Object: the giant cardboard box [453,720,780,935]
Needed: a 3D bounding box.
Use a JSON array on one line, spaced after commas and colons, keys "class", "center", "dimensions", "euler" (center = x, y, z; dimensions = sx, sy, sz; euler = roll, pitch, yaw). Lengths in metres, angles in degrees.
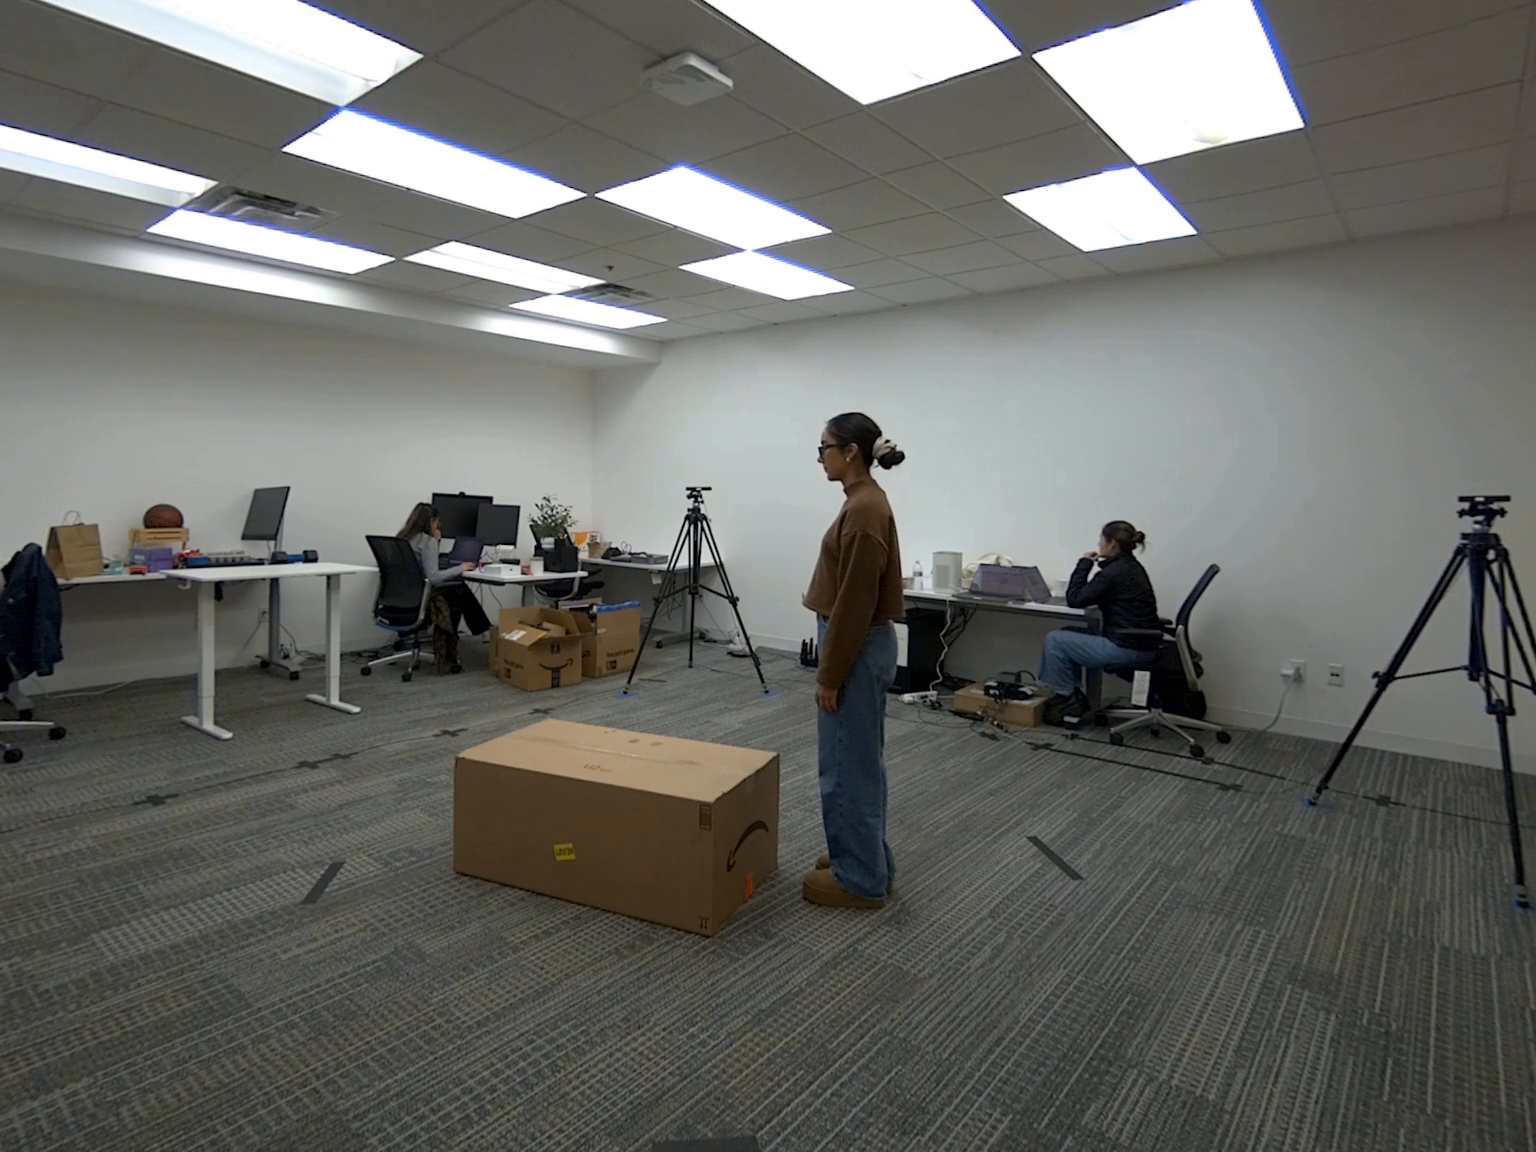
[{"class": "giant cardboard box", "center": [-0.552, 0.851, 3.074], "dimensions": [1.052, 0.445, 0.572], "euler": [3, 6, 23]}]
